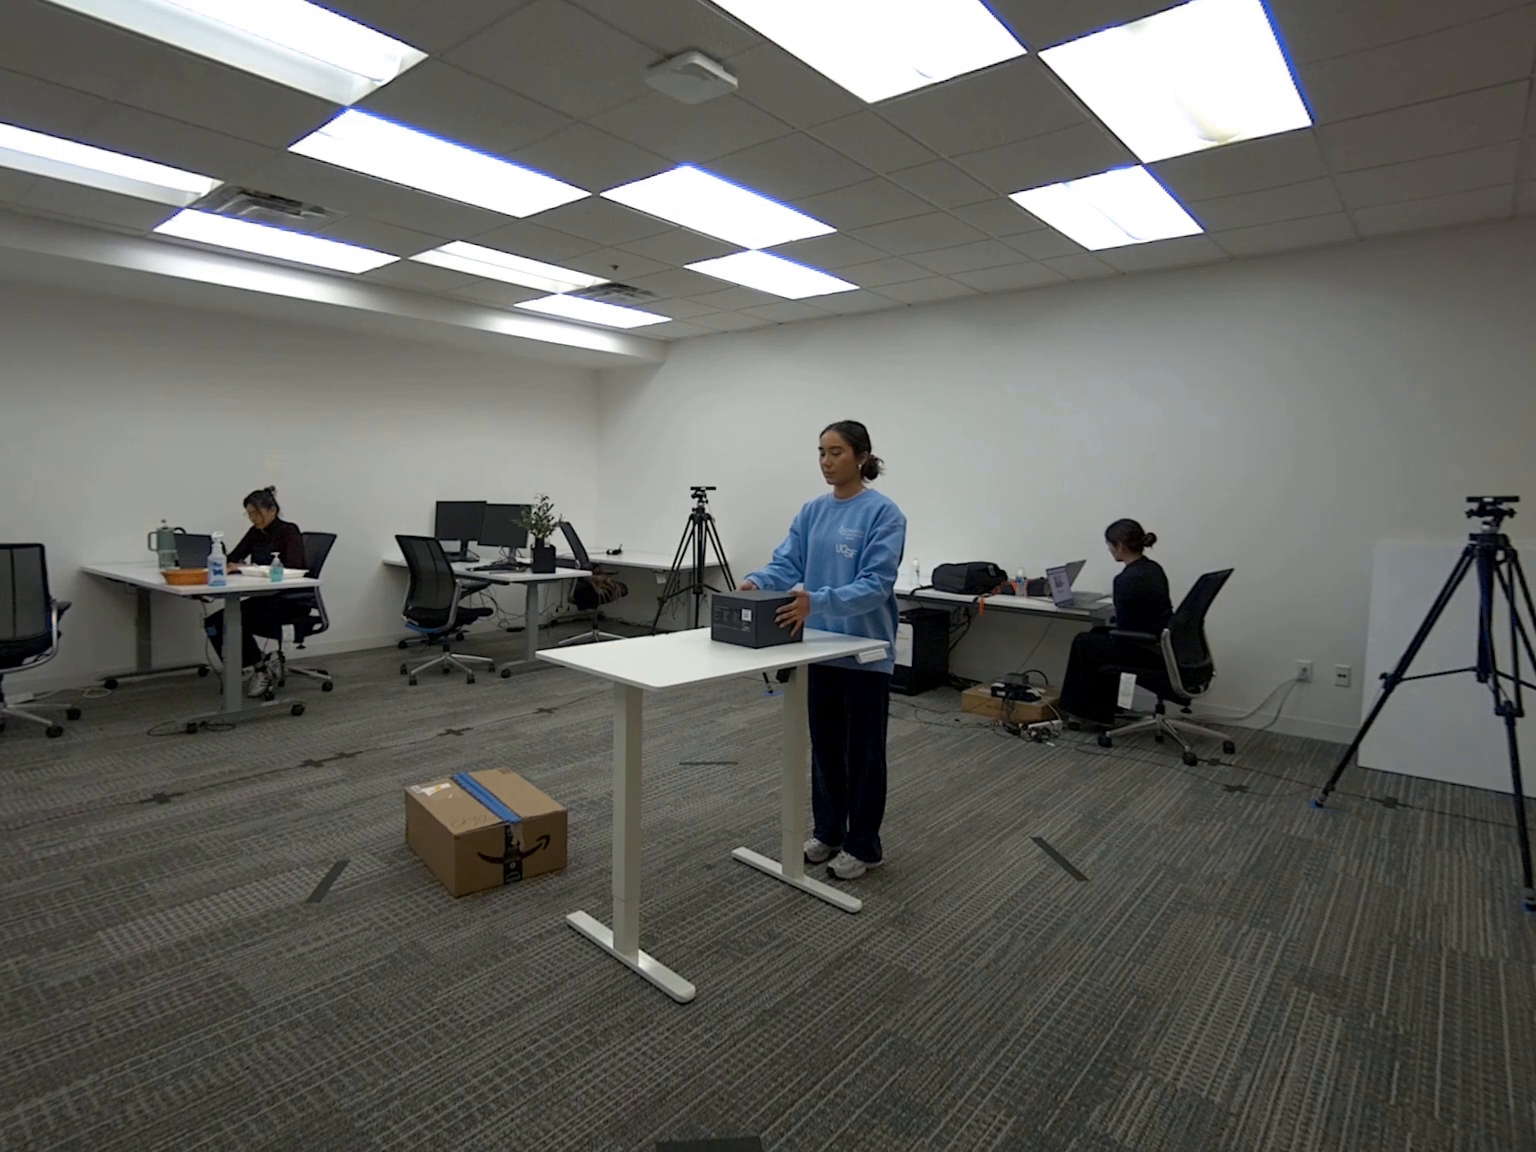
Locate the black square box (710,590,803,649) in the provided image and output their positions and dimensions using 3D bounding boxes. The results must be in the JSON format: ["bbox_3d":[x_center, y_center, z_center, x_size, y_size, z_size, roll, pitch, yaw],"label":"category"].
[{"bbox_3d":[-0.050,0.136,2.822,0.221,0.155,0.224,-4,6,-44],"label":"black square box"}]
